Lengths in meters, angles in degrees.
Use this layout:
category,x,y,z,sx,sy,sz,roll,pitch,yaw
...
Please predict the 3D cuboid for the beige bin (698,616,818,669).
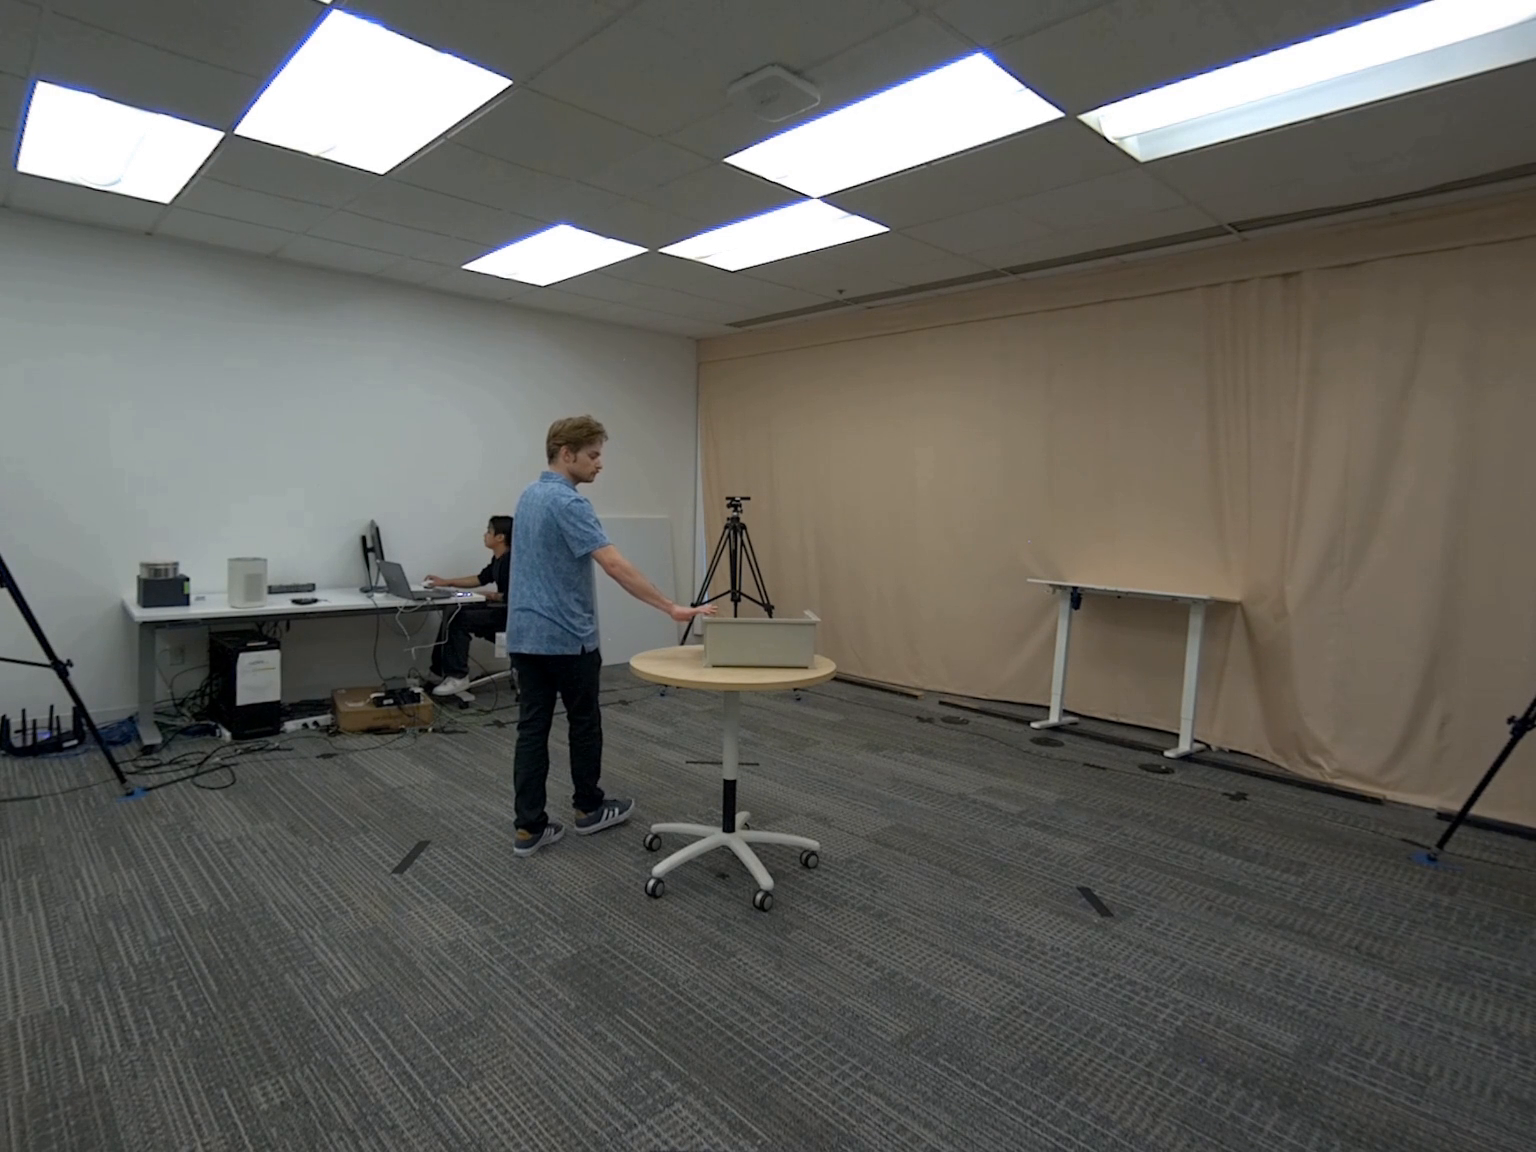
category,x,y,z,sx,sy,sz,roll,pitch,yaw
beige bin,-0.043,0.230,3.189,0.422,0.188,0.379,2,5,-2
